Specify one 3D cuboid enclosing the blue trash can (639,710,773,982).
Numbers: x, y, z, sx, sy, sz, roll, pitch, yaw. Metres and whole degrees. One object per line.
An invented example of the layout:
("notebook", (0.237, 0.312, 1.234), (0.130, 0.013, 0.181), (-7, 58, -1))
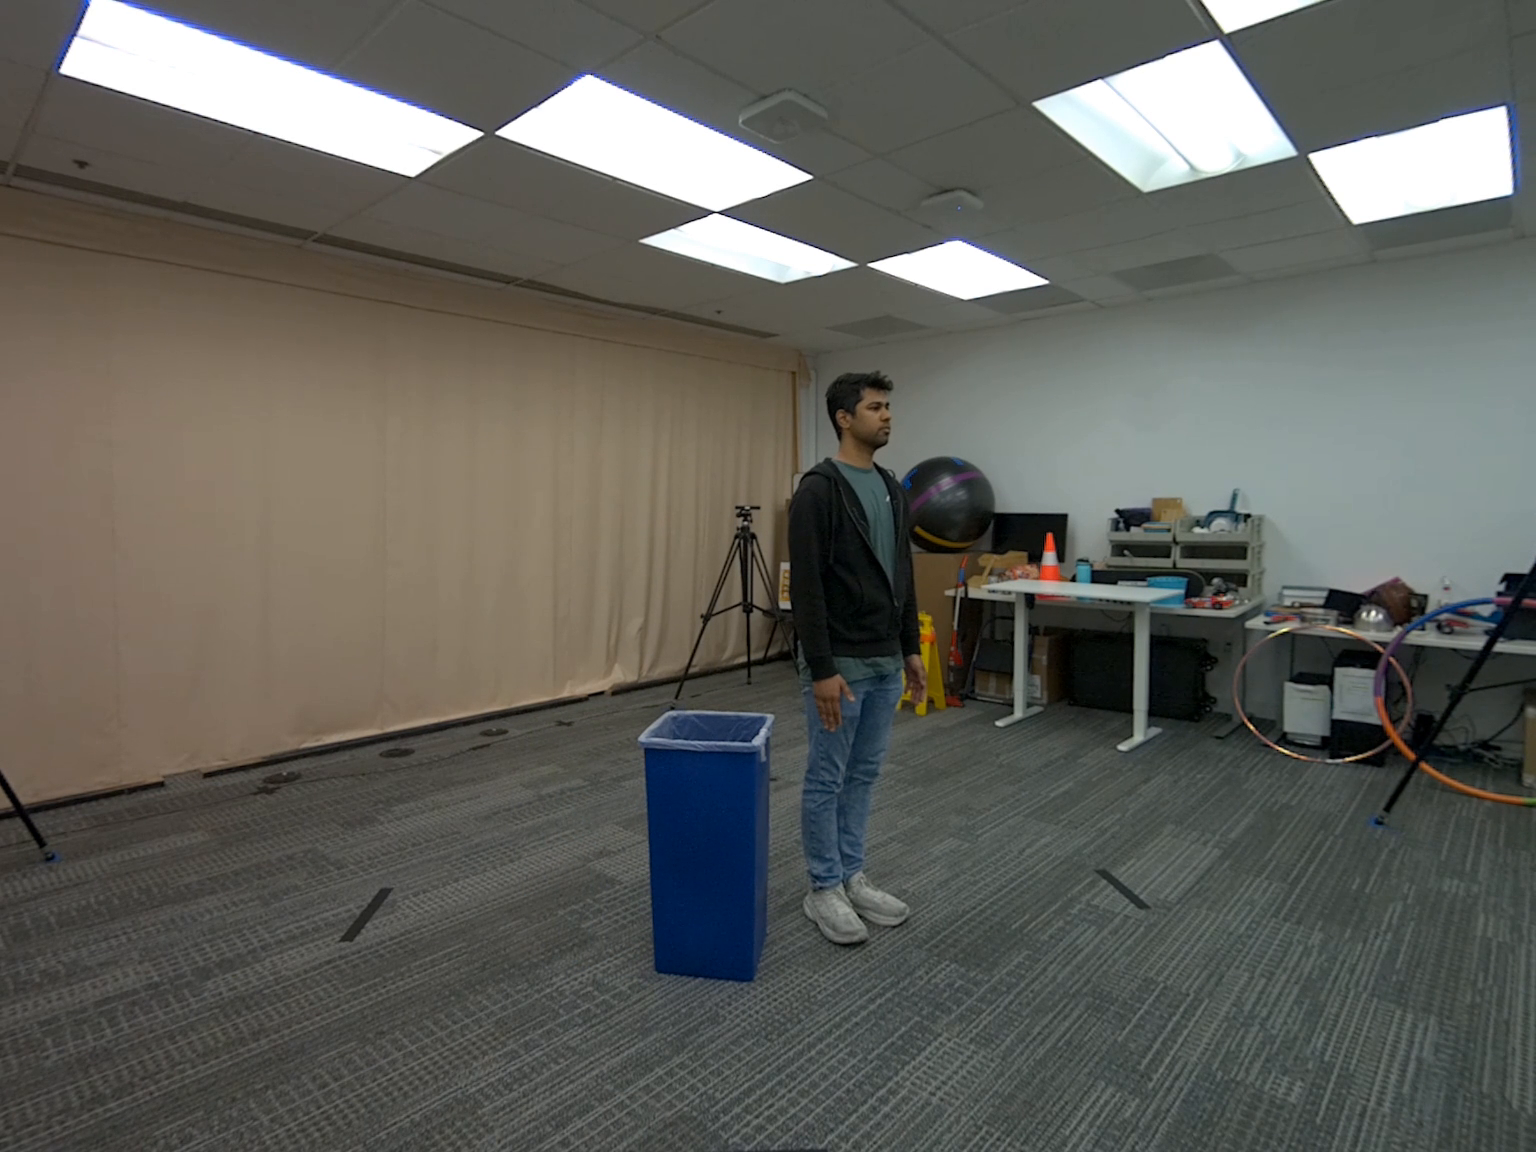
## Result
("blue trash can", (-0.176, 0.817, 2.615), (0.383, 0.712, 0.370), (0, 4, 10))
